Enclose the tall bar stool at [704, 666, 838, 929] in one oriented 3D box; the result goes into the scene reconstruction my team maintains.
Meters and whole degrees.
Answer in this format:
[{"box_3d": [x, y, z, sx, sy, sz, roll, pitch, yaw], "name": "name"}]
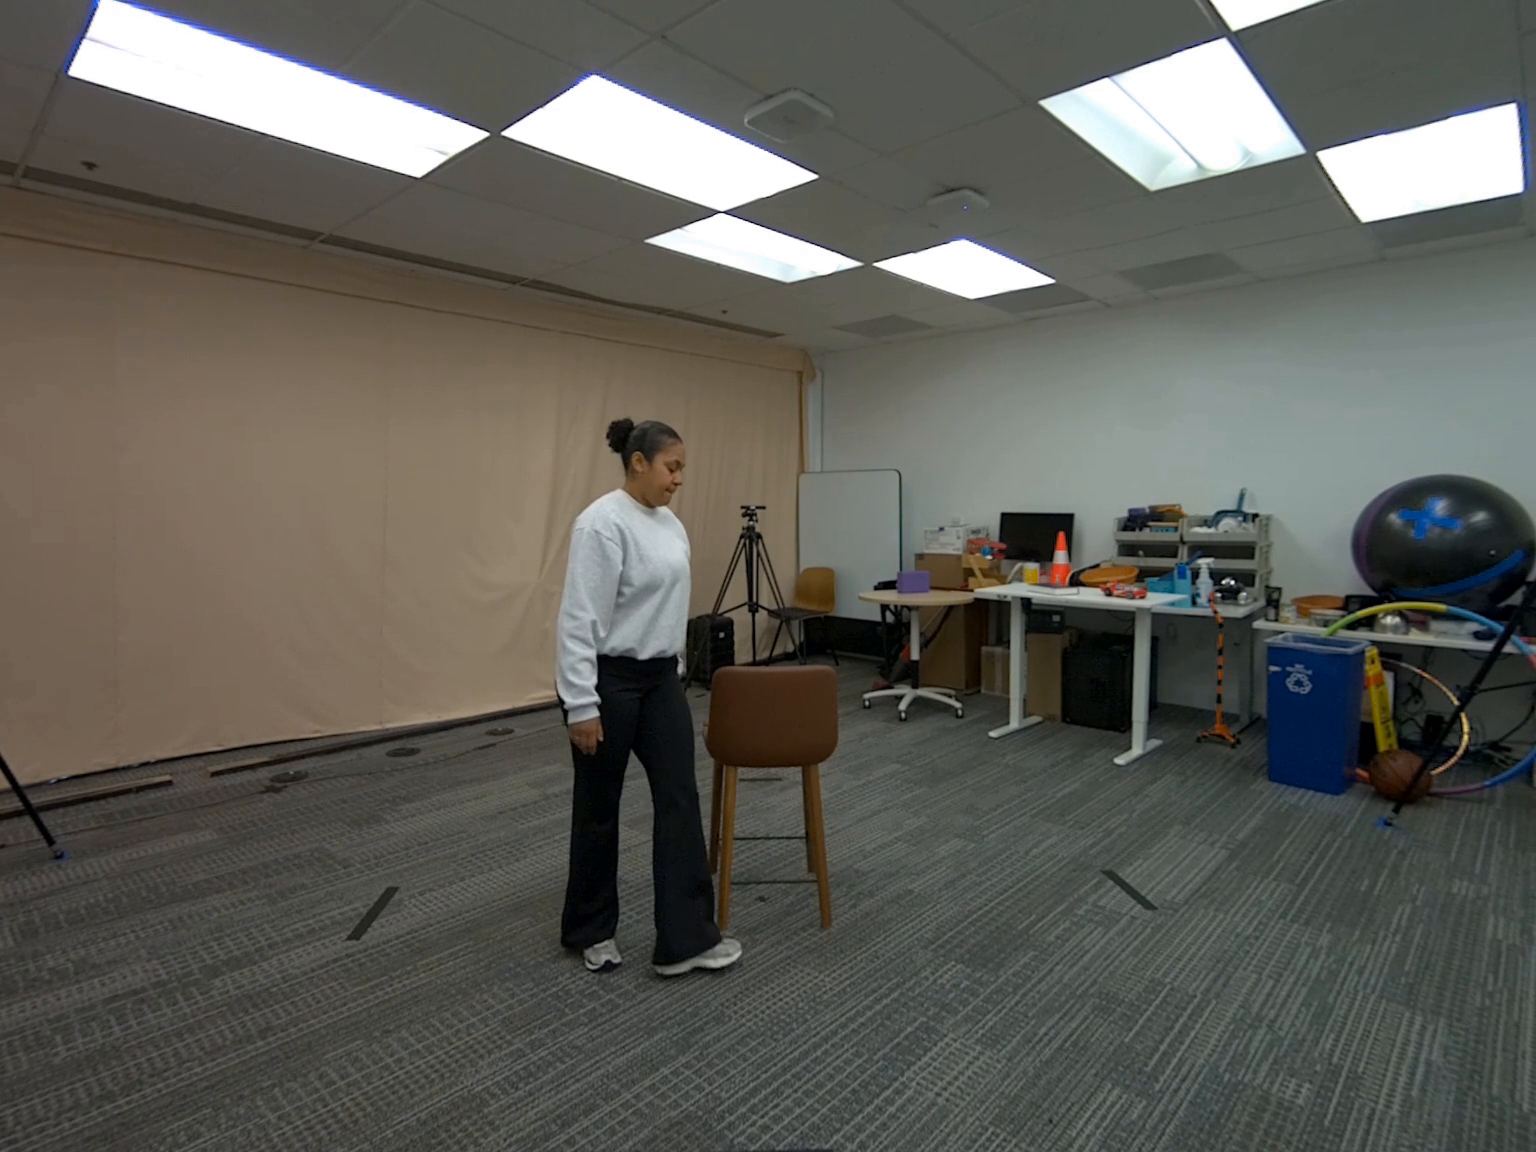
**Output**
[{"box_3d": [-0.001, 0.715, 2.954, 0.455, 0.887, 0.471, -1, 4, -4], "name": "tall bar stool"}]
